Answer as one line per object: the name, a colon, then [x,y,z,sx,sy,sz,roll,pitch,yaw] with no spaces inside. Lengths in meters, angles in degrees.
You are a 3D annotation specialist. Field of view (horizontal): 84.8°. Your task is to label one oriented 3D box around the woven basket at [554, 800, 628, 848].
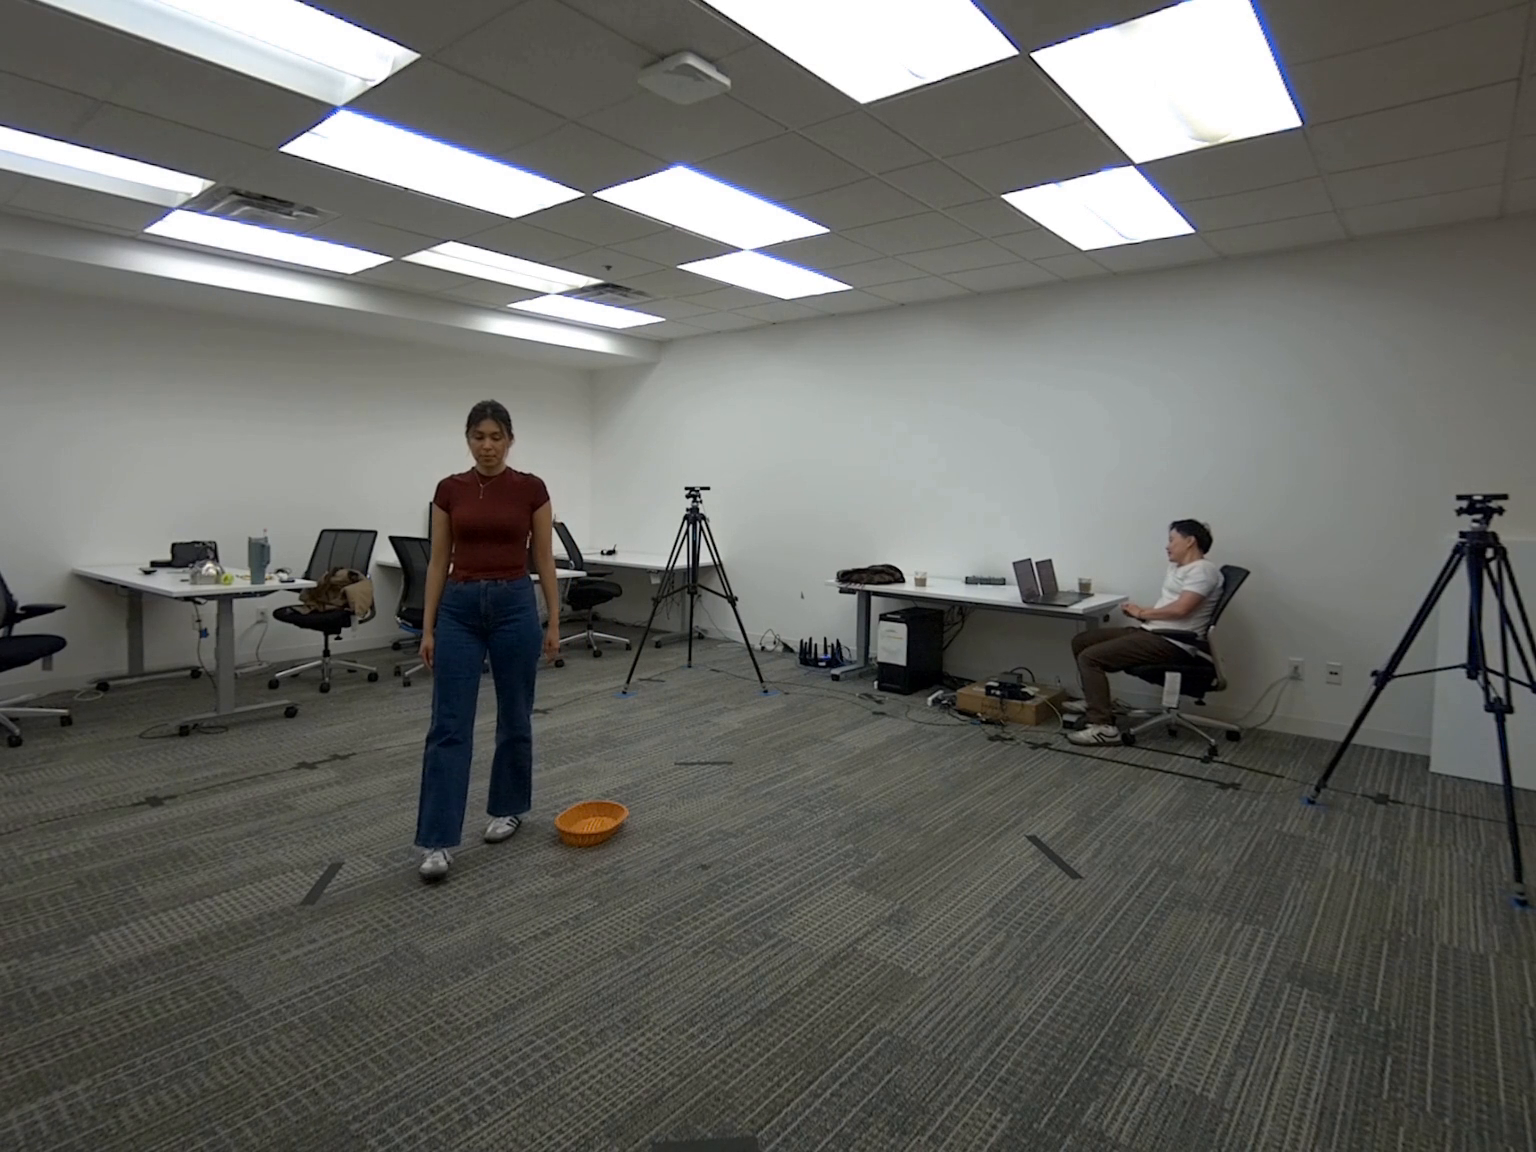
woven basket: [-0.714,0.992,3.409,0.258,0.073,0.344,5,7,21]
